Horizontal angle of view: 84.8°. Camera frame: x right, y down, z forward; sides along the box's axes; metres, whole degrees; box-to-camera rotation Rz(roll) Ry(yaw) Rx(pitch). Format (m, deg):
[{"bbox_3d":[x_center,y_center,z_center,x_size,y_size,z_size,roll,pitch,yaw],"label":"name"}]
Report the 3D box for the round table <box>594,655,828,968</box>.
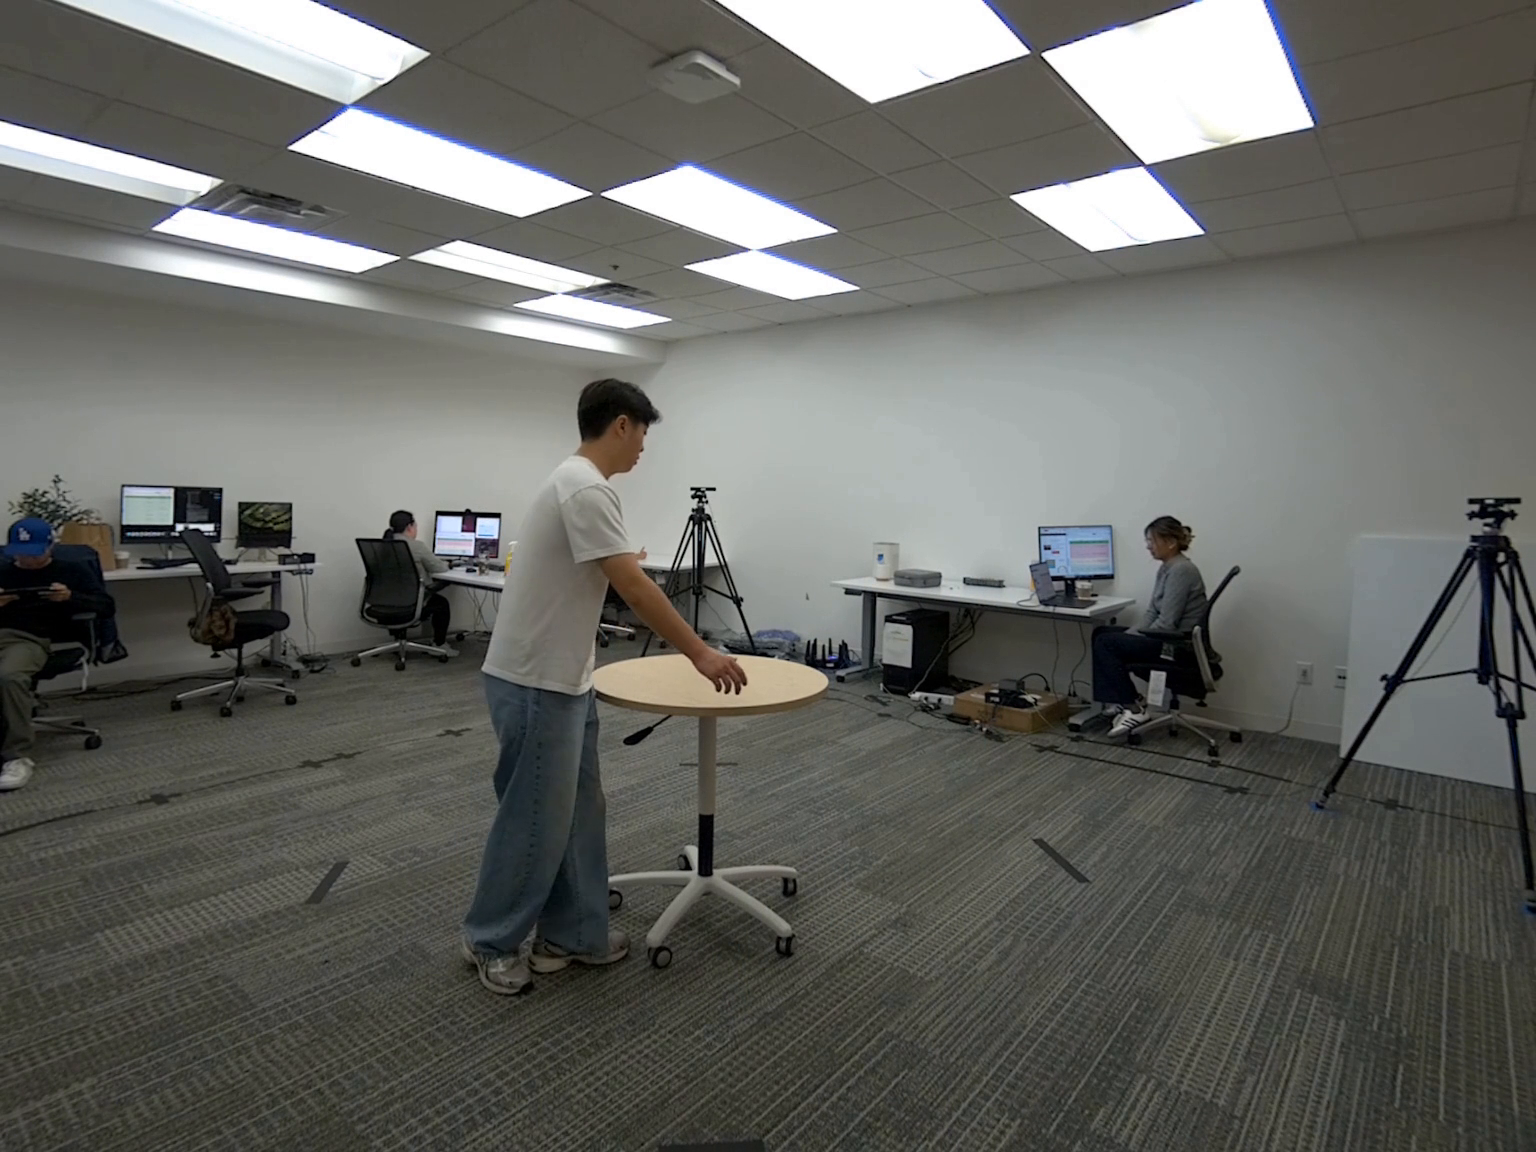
[{"bbox_3d":[-0.208,0.714,2.743,0.763,0.791,0.768,1,4,-2],"label":"round table"}]
